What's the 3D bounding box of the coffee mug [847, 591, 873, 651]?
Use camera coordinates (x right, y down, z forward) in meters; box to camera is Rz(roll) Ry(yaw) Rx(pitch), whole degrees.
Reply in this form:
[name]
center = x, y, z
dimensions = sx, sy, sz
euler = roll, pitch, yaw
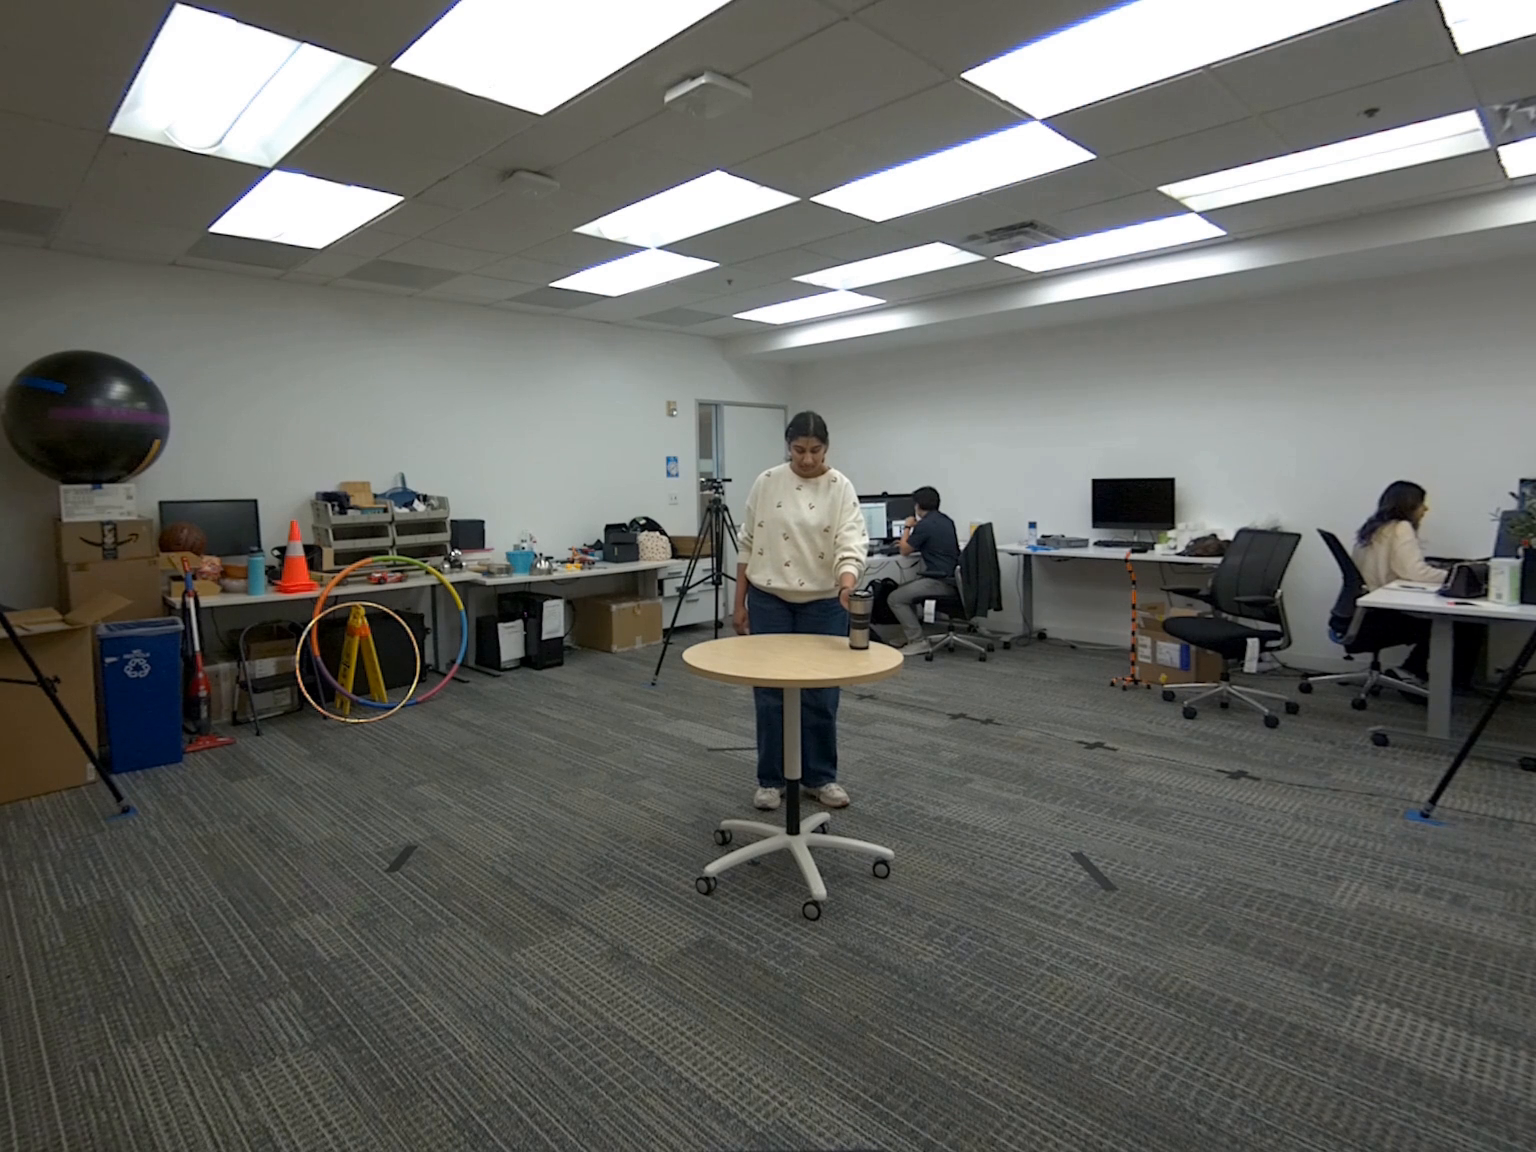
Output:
[coffee mug]
center = 0.350, 0.164, 3.079
dimensions = 0.119, 0.202, 0.090
euler = -6, 3, -45
